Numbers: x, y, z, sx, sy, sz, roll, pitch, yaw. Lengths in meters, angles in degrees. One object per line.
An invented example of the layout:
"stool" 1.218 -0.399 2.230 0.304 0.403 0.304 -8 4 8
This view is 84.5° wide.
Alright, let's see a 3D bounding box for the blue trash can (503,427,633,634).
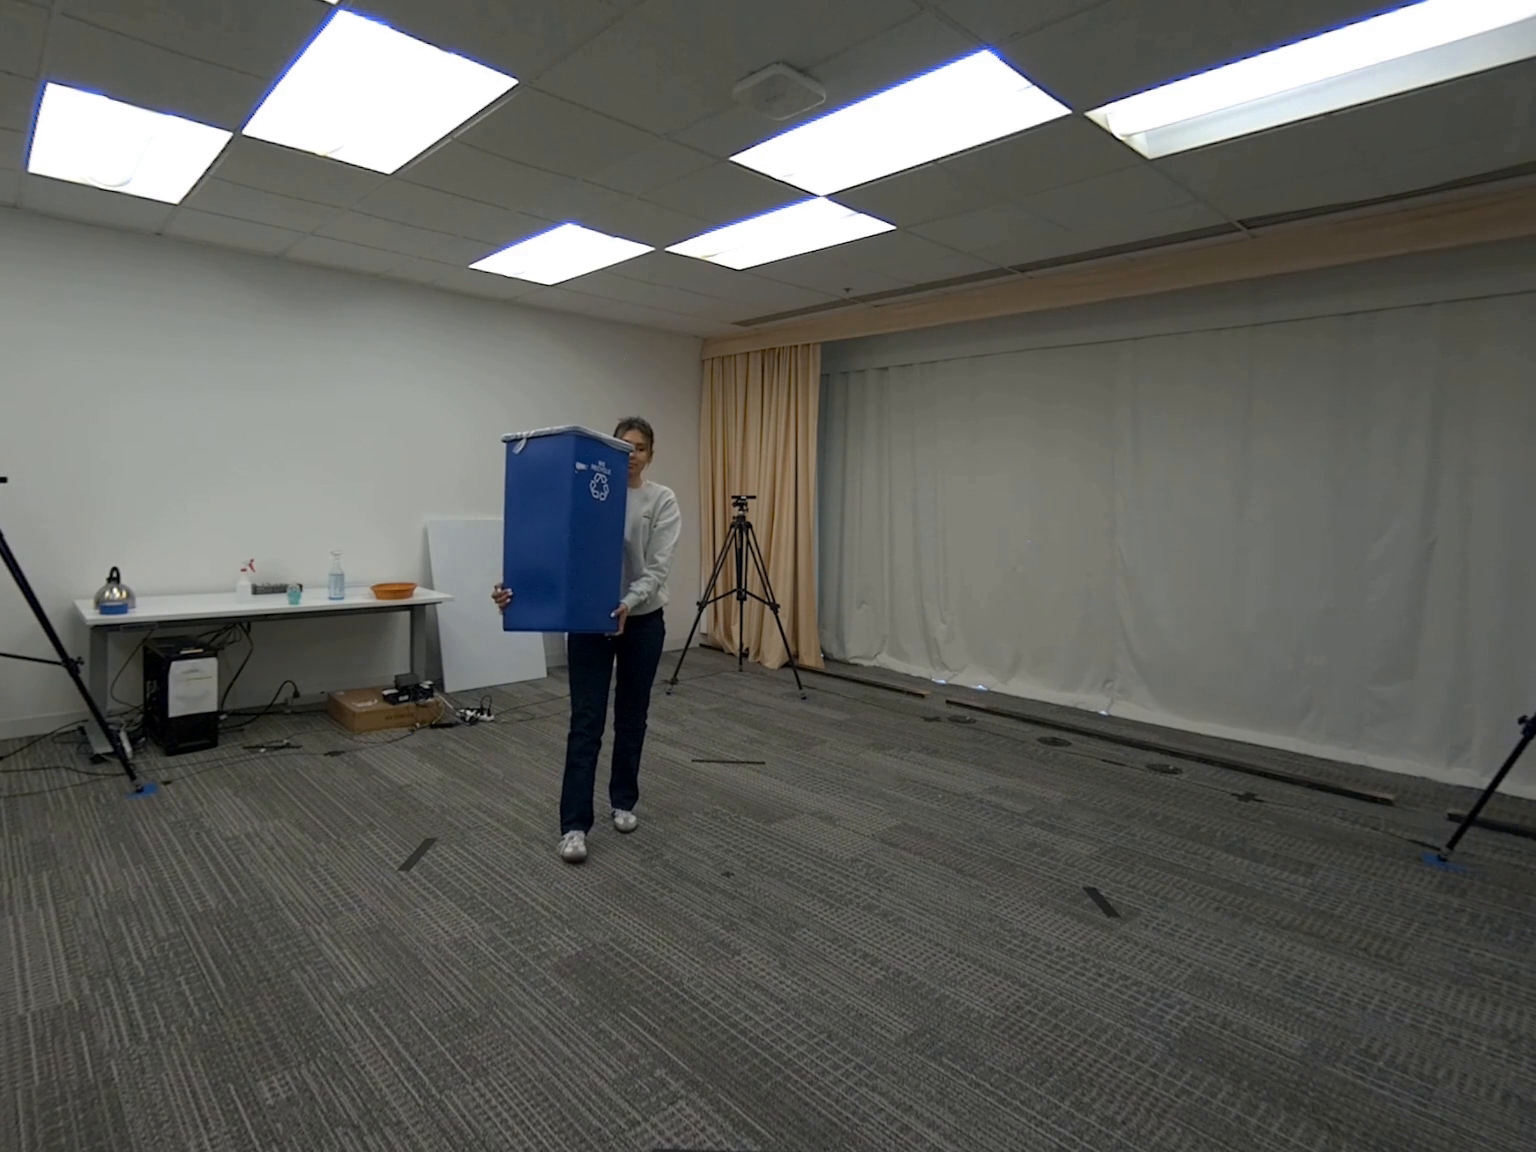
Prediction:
"blue trash can" -0.763 -0.154 3.101 0.385 0.717 0.365 -2 -7 28
